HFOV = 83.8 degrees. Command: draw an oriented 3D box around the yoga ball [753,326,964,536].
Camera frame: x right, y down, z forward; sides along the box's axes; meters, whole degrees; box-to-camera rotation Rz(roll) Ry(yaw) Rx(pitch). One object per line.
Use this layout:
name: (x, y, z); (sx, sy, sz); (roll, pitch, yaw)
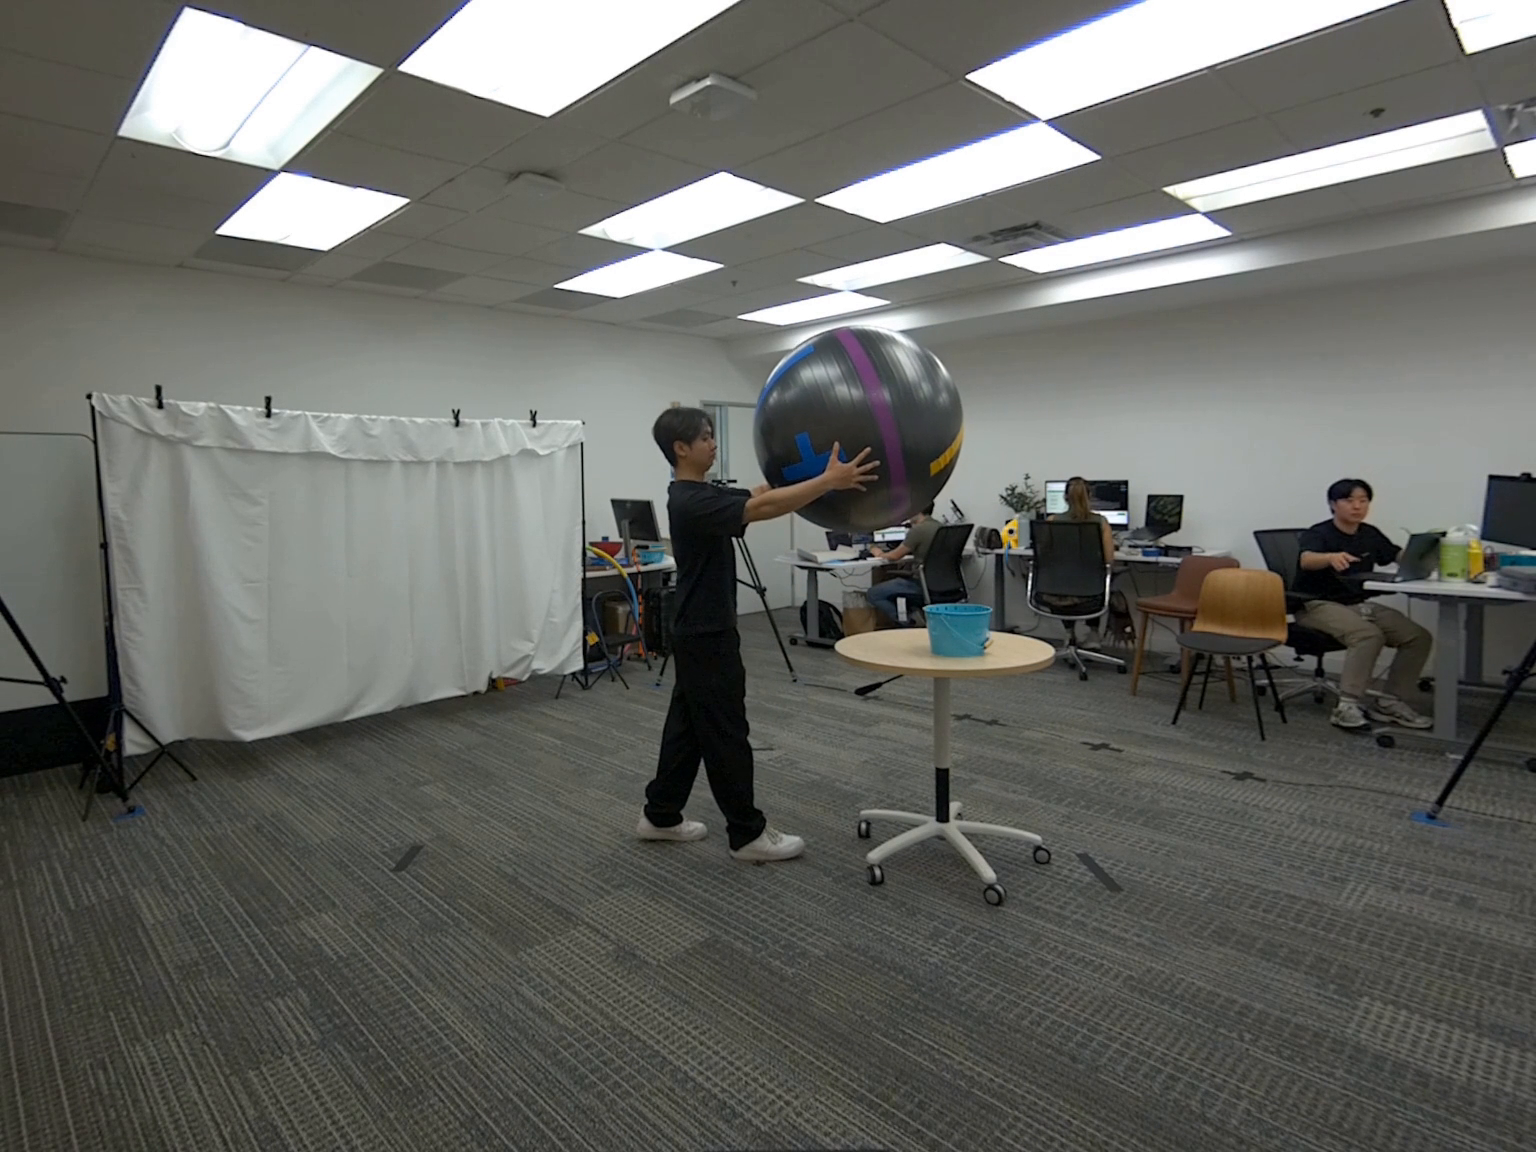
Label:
yoga ball: (0.334, -0.536, 3.152); (0.757, 0.755, 0.762); (-1, 5, -2)
